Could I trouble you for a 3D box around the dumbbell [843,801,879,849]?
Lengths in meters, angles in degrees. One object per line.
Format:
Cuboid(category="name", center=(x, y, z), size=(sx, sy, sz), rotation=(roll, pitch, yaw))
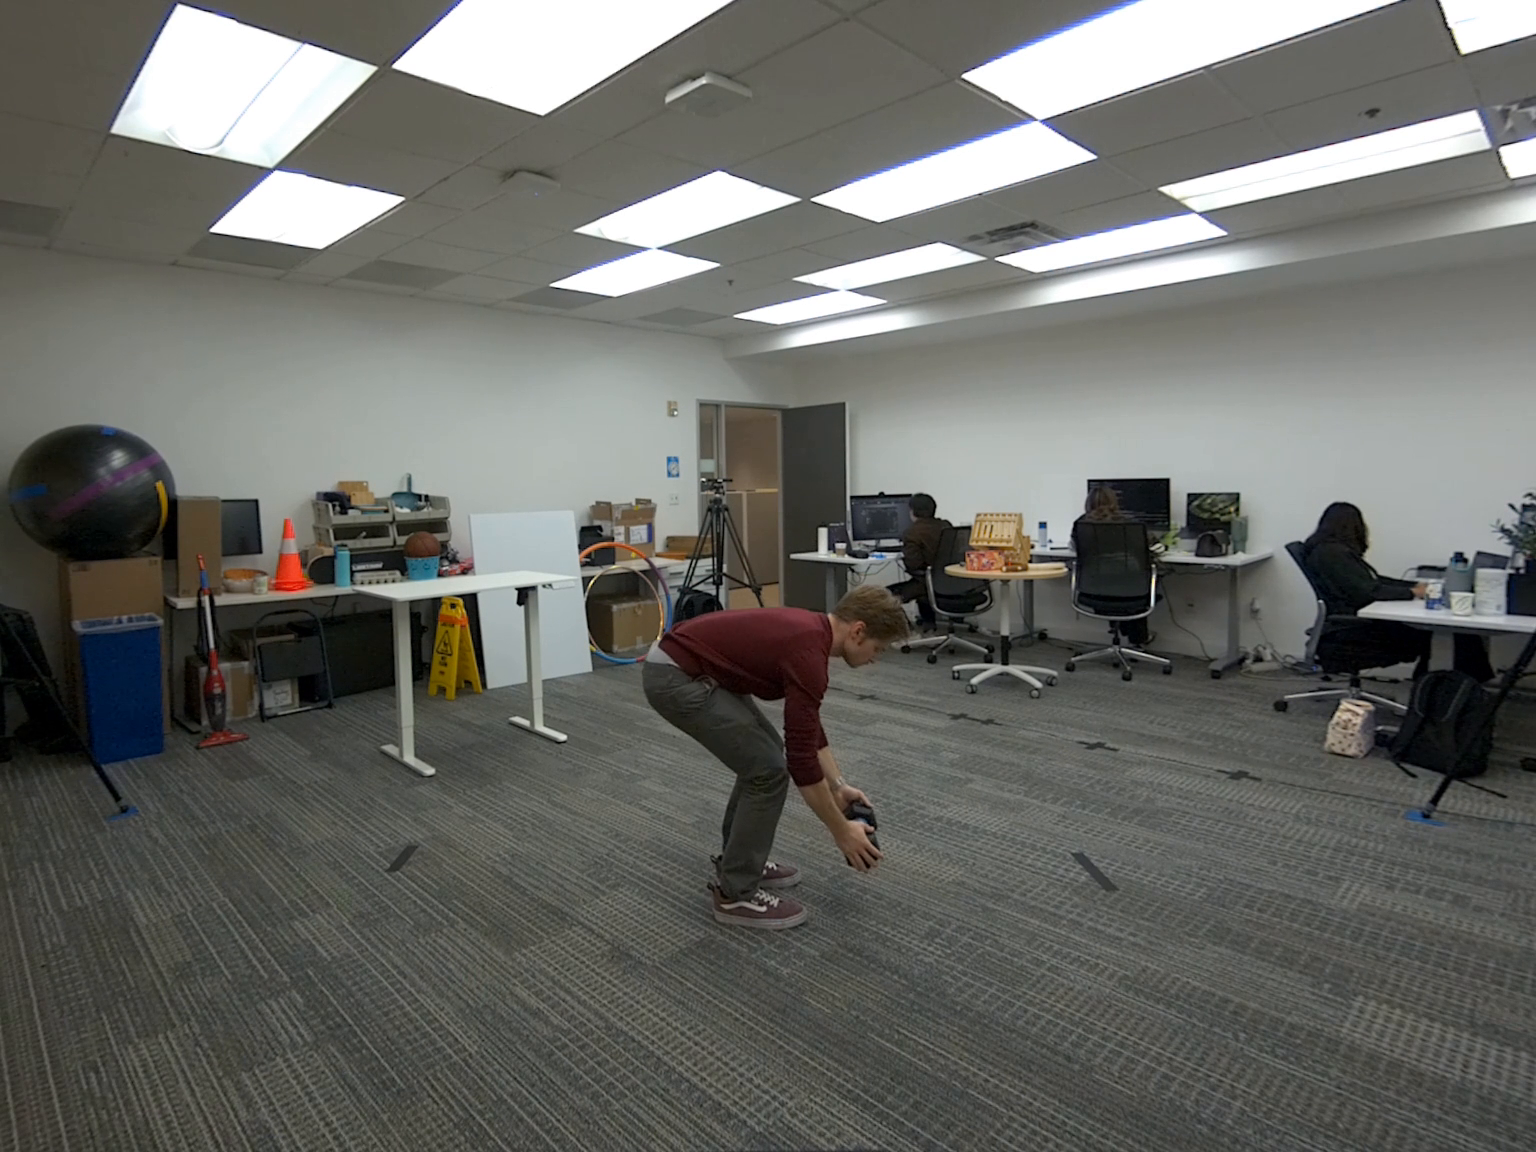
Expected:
Cuboid(category="dumbbell", center=(0.298, 0.837, 2.784), size=(0.124, 0.108, 0.293), rotation=(10, 8, 5))
